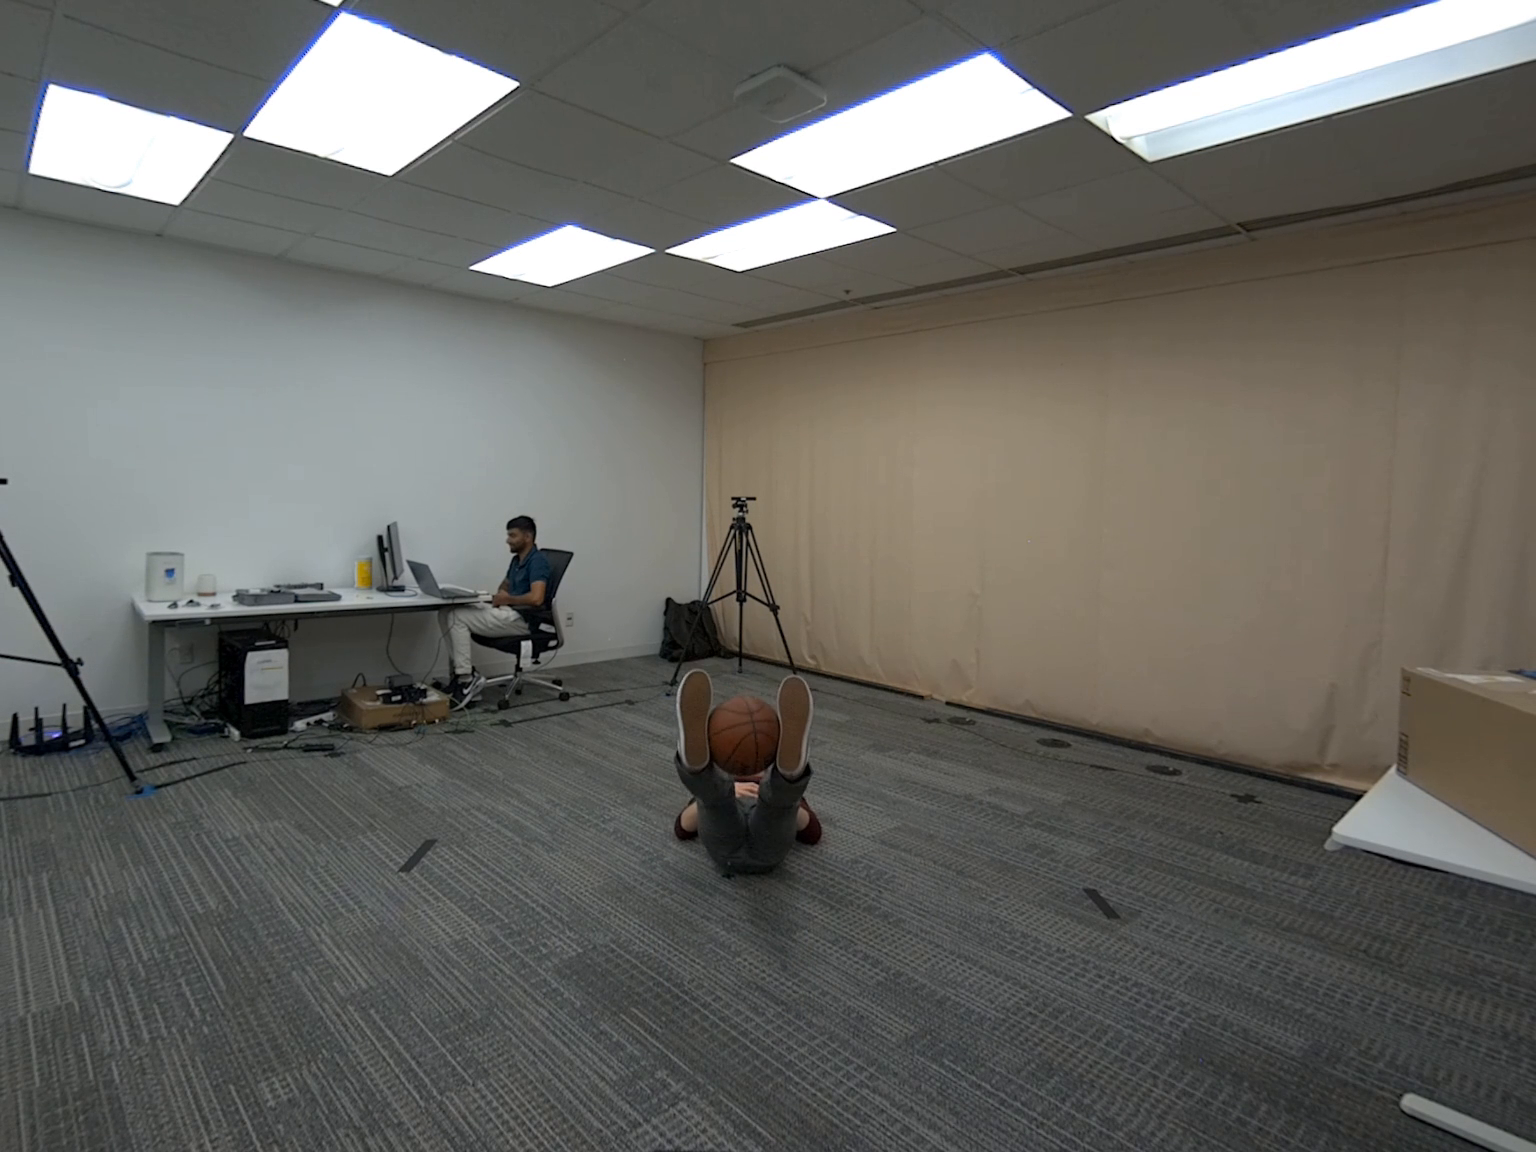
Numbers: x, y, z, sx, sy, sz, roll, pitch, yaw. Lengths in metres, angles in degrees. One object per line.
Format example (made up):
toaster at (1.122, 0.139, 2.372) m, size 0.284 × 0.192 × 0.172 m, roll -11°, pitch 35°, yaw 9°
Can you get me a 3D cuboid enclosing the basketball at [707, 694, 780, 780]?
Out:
basketball at (-0.083, 0.477, 2.541) m, size 0.236 × 0.234 × 0.237 m, roll 0°, pitch 7°, yaw -1°
